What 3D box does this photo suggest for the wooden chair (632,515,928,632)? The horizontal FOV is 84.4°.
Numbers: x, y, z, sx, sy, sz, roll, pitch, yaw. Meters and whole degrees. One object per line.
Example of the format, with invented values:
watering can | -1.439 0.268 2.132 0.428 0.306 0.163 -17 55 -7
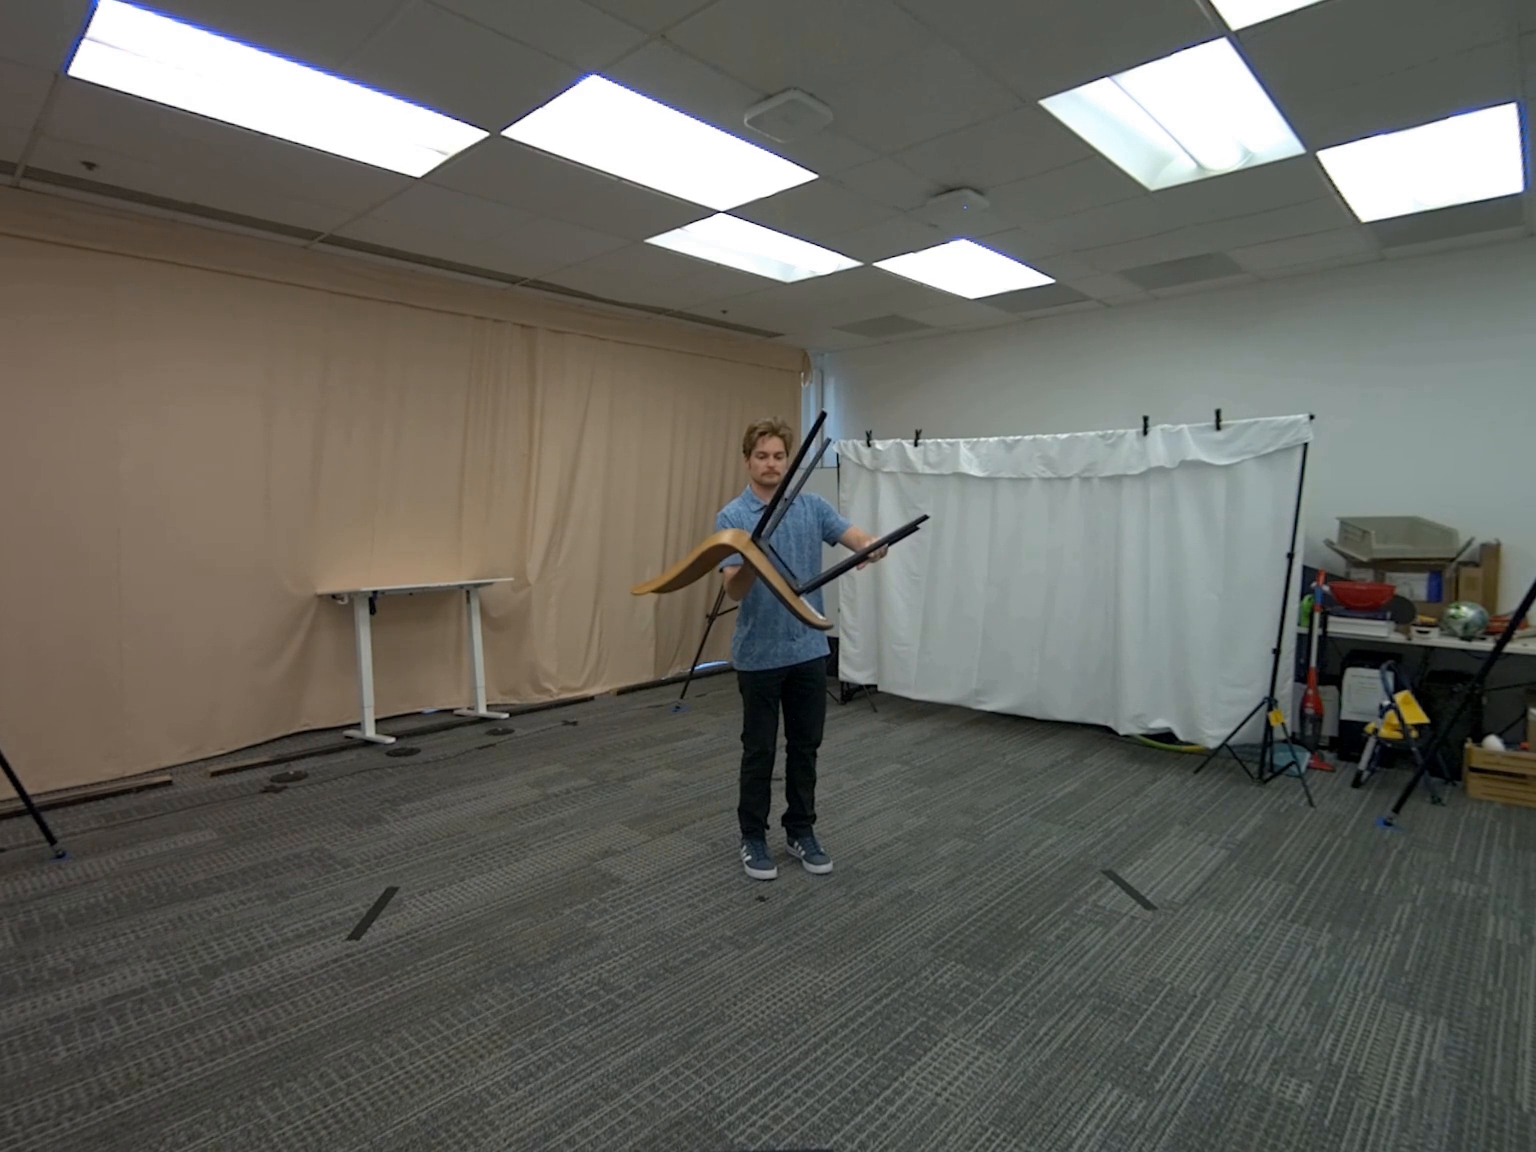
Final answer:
wooden chair | 0.044 -0.030 2.770 0.879 0.528 0.473 -40 -7 5
